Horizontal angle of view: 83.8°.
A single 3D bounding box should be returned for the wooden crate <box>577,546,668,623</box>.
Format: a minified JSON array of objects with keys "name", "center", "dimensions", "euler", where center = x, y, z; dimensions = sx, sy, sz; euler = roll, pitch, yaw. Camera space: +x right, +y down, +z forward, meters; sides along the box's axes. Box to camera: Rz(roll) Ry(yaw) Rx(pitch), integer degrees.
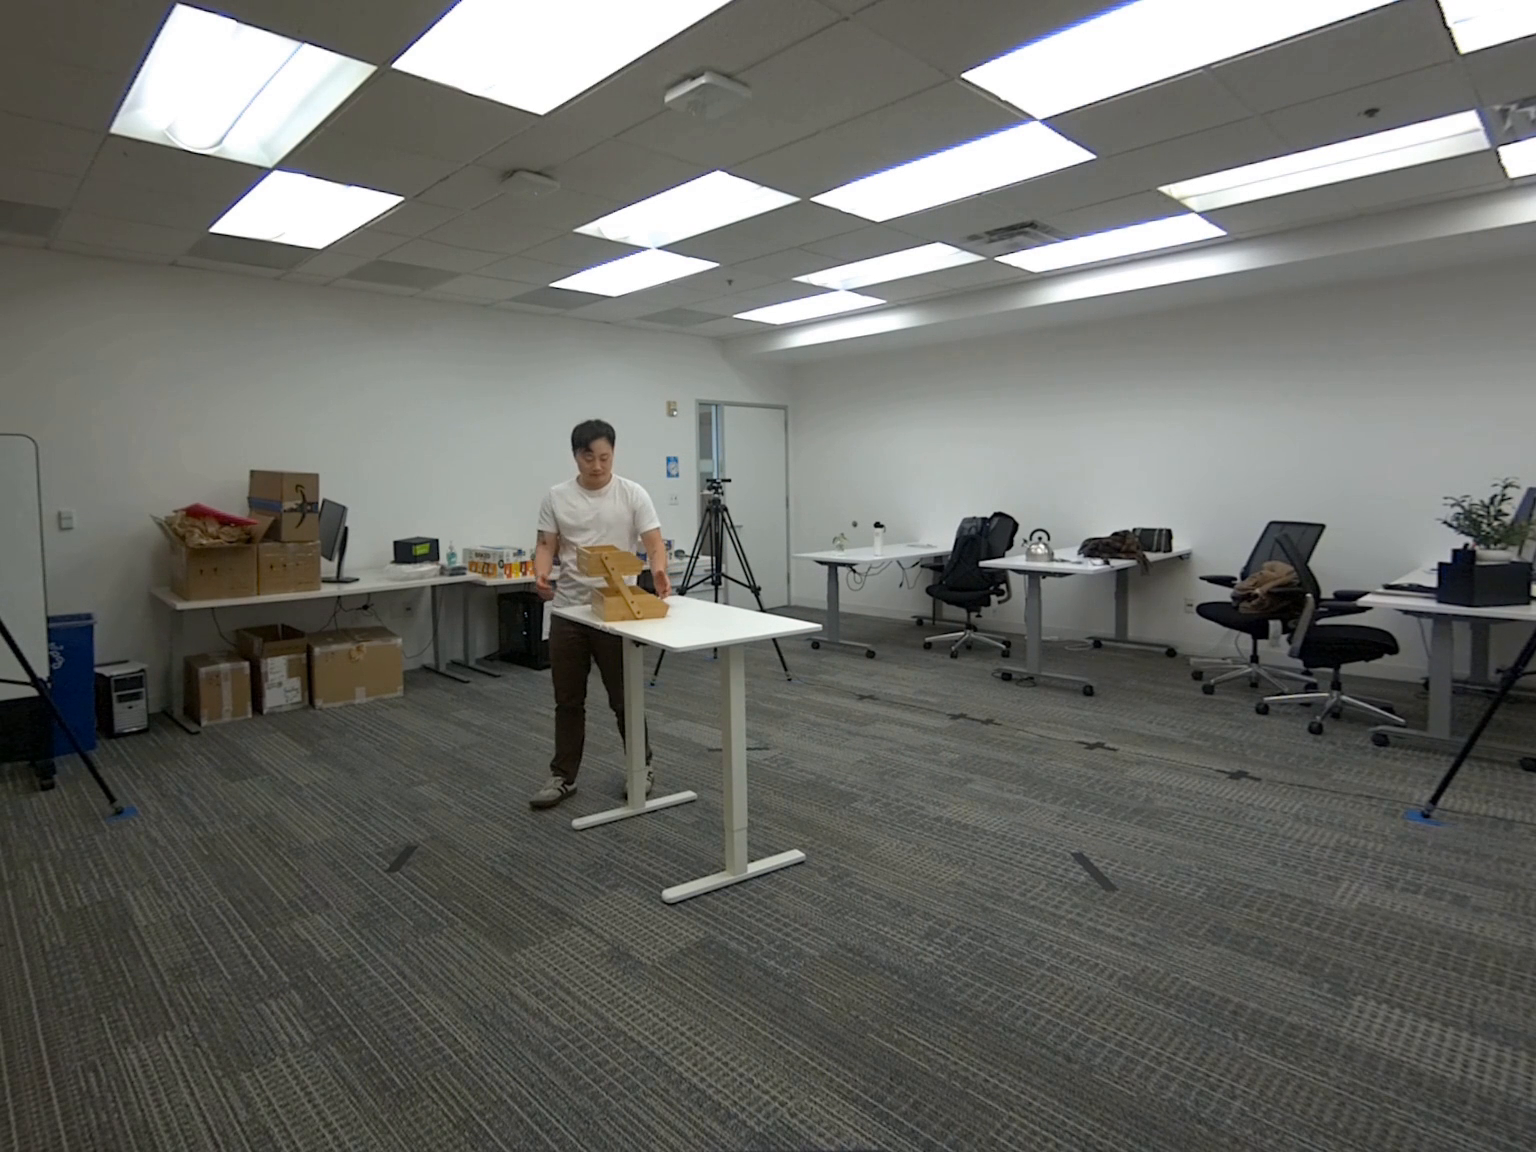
[{"name":"wooden crate","center":[-0.565,0.016,3.320],"dimensions":[0.297,0.272,0.331],"euler":[-4,5,-20]}]
